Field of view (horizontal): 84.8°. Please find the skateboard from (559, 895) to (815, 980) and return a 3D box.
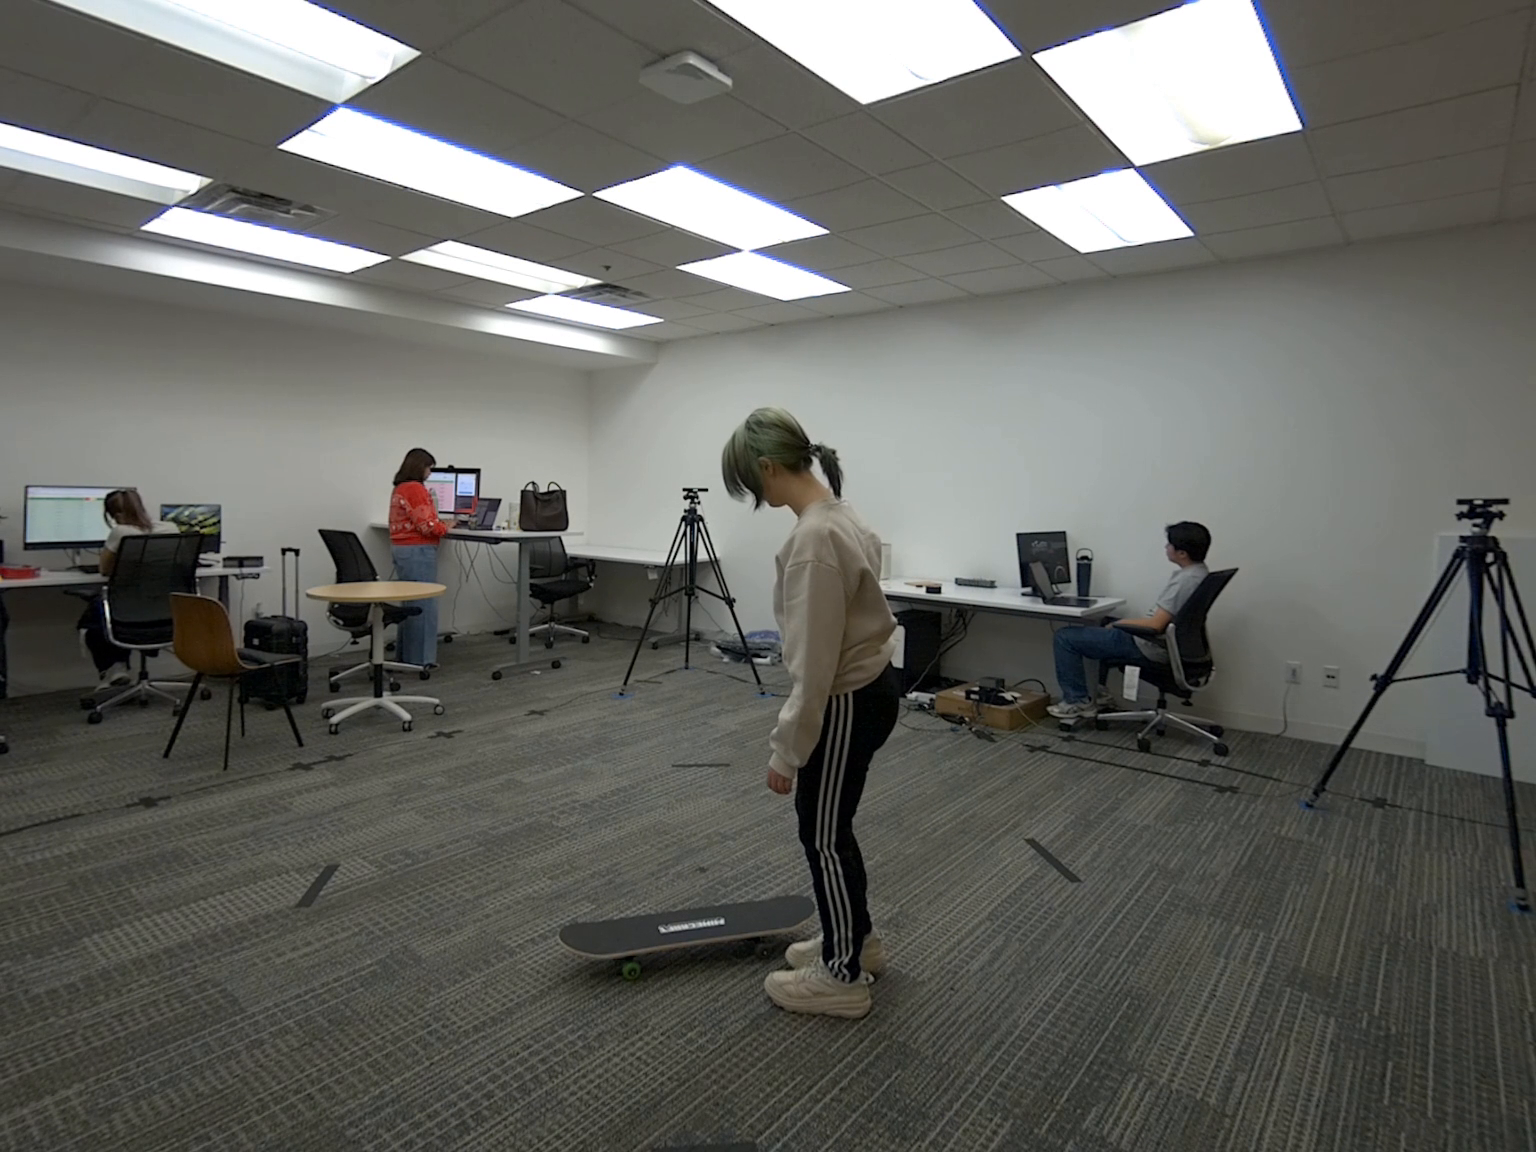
[{"bbox_3d":[-0.230,1.068,2.534,0.771,0.110,0.198,-1,5,-18],"label":"skateboard"}]
